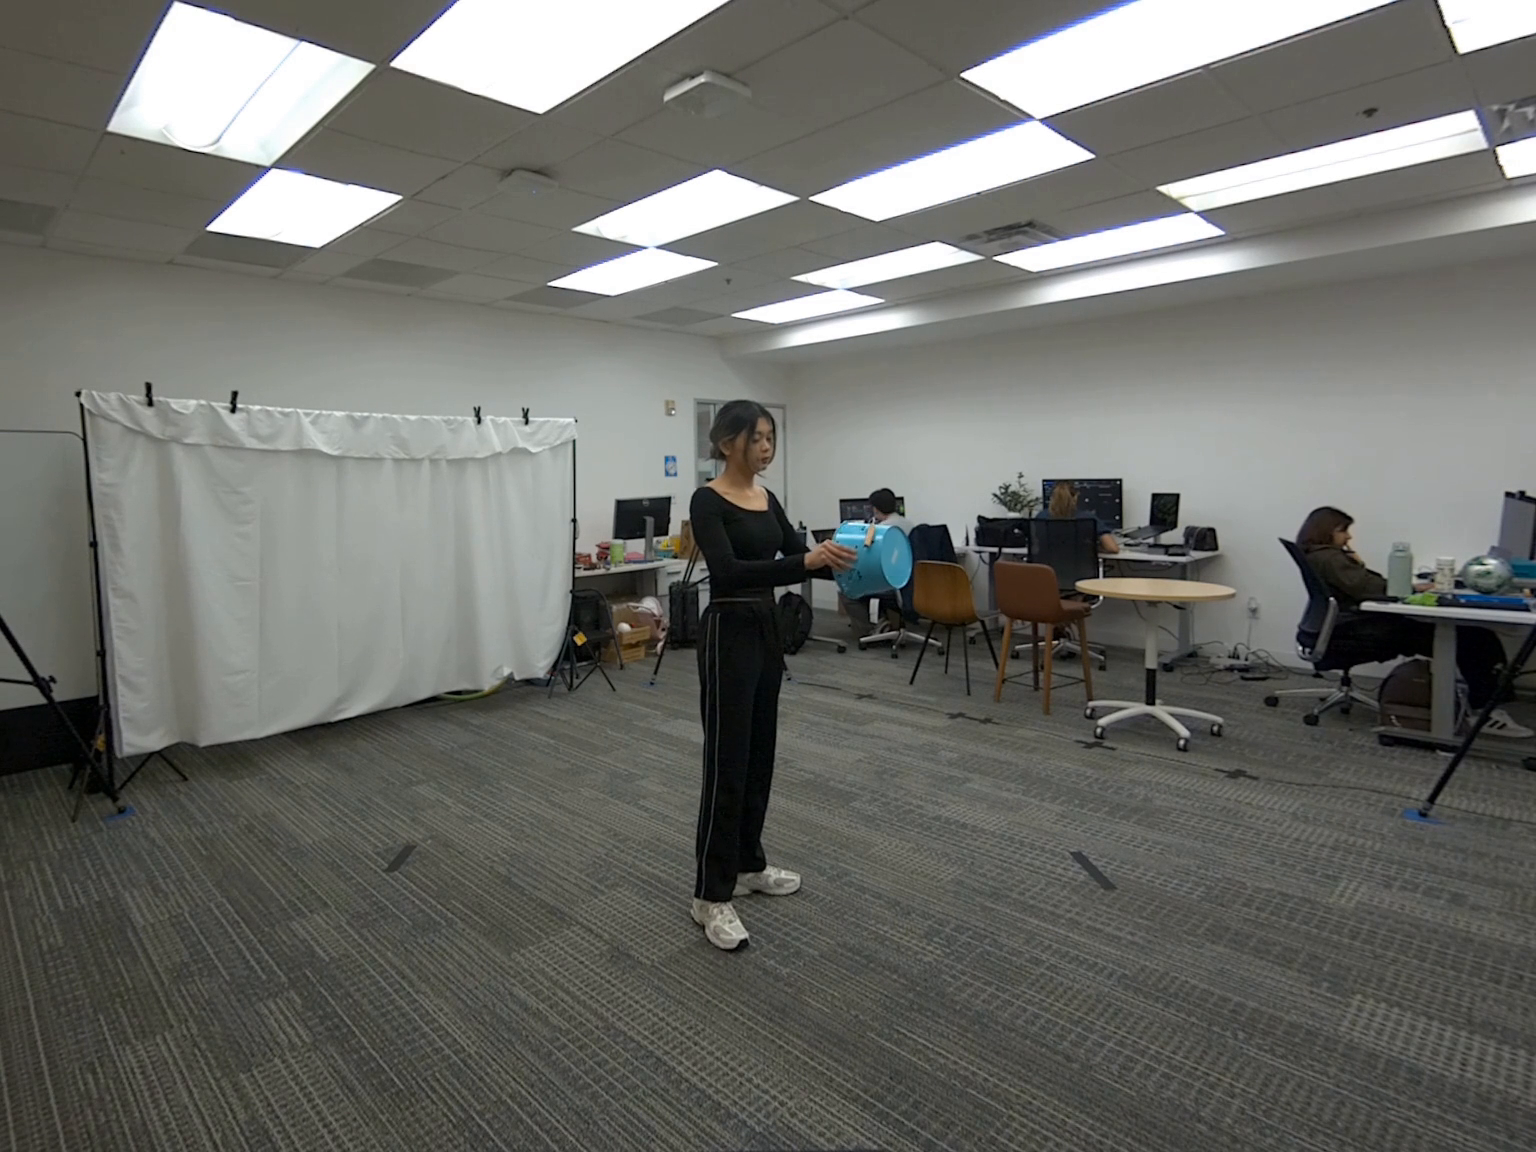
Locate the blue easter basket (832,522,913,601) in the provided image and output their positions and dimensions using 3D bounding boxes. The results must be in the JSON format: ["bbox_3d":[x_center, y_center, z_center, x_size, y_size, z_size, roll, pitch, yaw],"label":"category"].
[{"bbox_3d":[0.315,-0.058,2.512,0.160,0.243,0.237,-5,1,37],"label":"blue easter basket"}]
